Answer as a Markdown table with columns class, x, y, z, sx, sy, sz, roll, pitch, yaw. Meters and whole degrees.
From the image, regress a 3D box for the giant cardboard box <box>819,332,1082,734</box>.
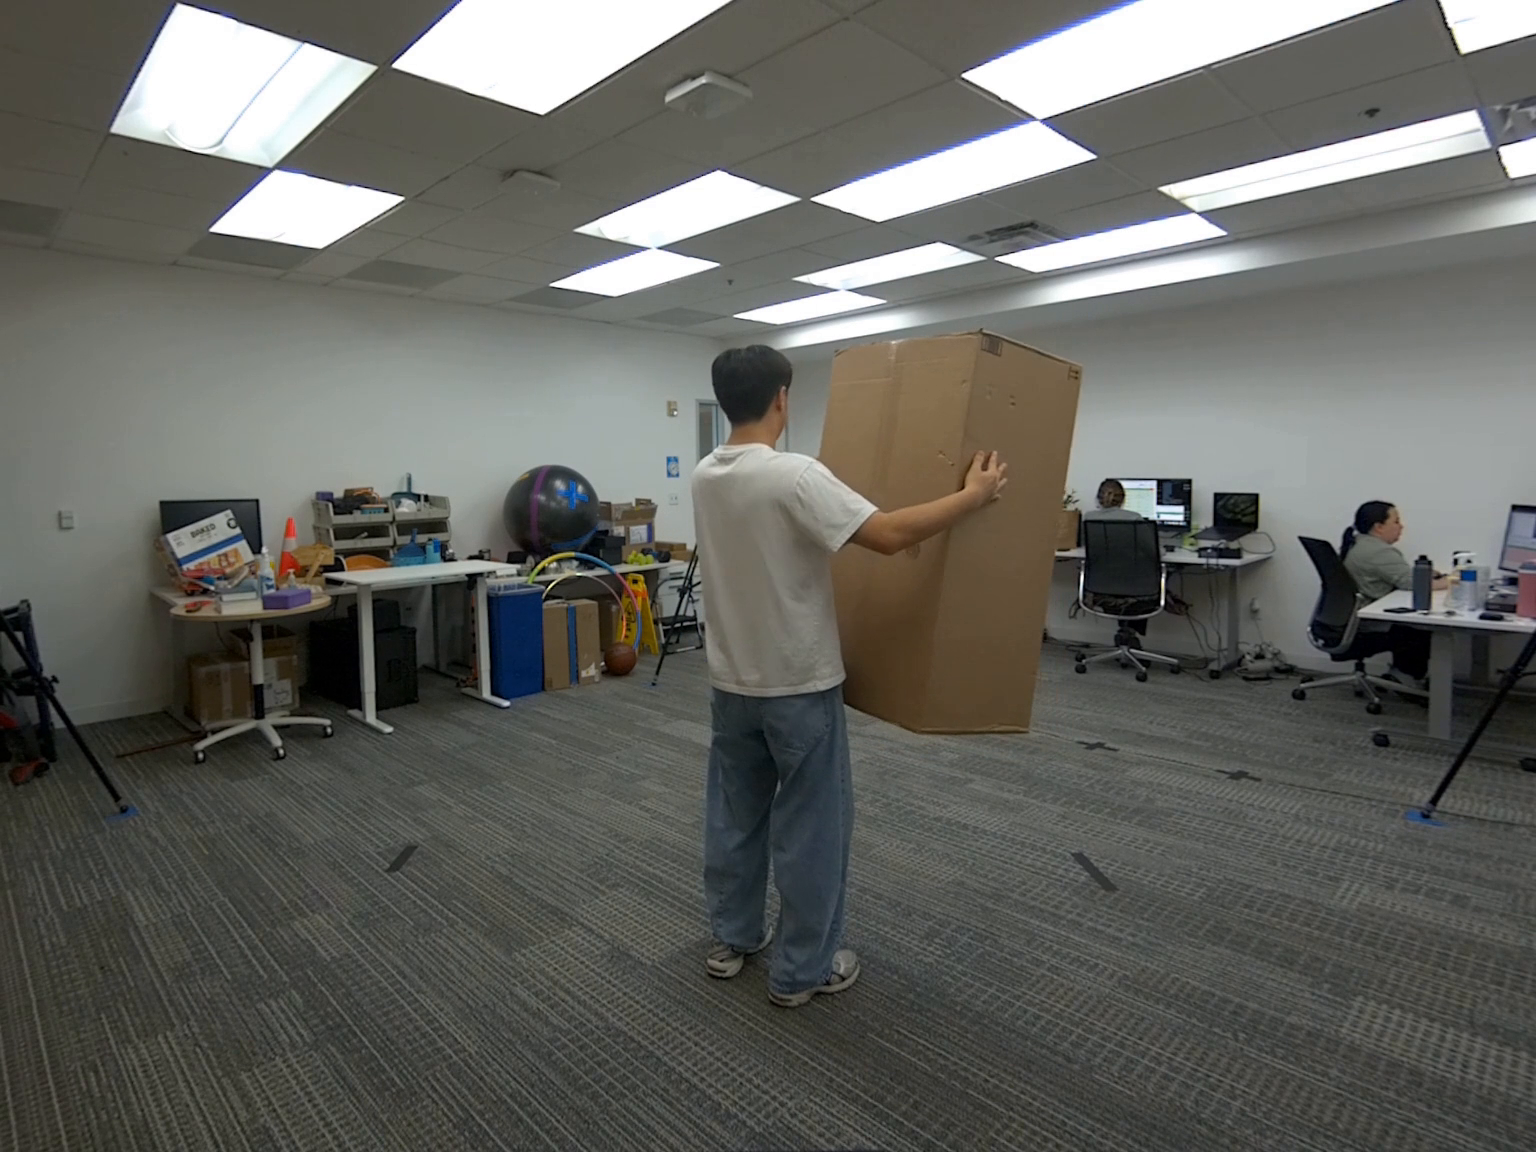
| class | x | y | z | sx | sy | sz | roll | pitch | yaw |
| --- | --- | --- | --- | --- | --- | --- | --- | --- | --- |
| giant cardboard box | 0.463 | -0.125 | 2.477 | 0.413 | 1.025 | 0.595 | 8 | 1 | -35 |
